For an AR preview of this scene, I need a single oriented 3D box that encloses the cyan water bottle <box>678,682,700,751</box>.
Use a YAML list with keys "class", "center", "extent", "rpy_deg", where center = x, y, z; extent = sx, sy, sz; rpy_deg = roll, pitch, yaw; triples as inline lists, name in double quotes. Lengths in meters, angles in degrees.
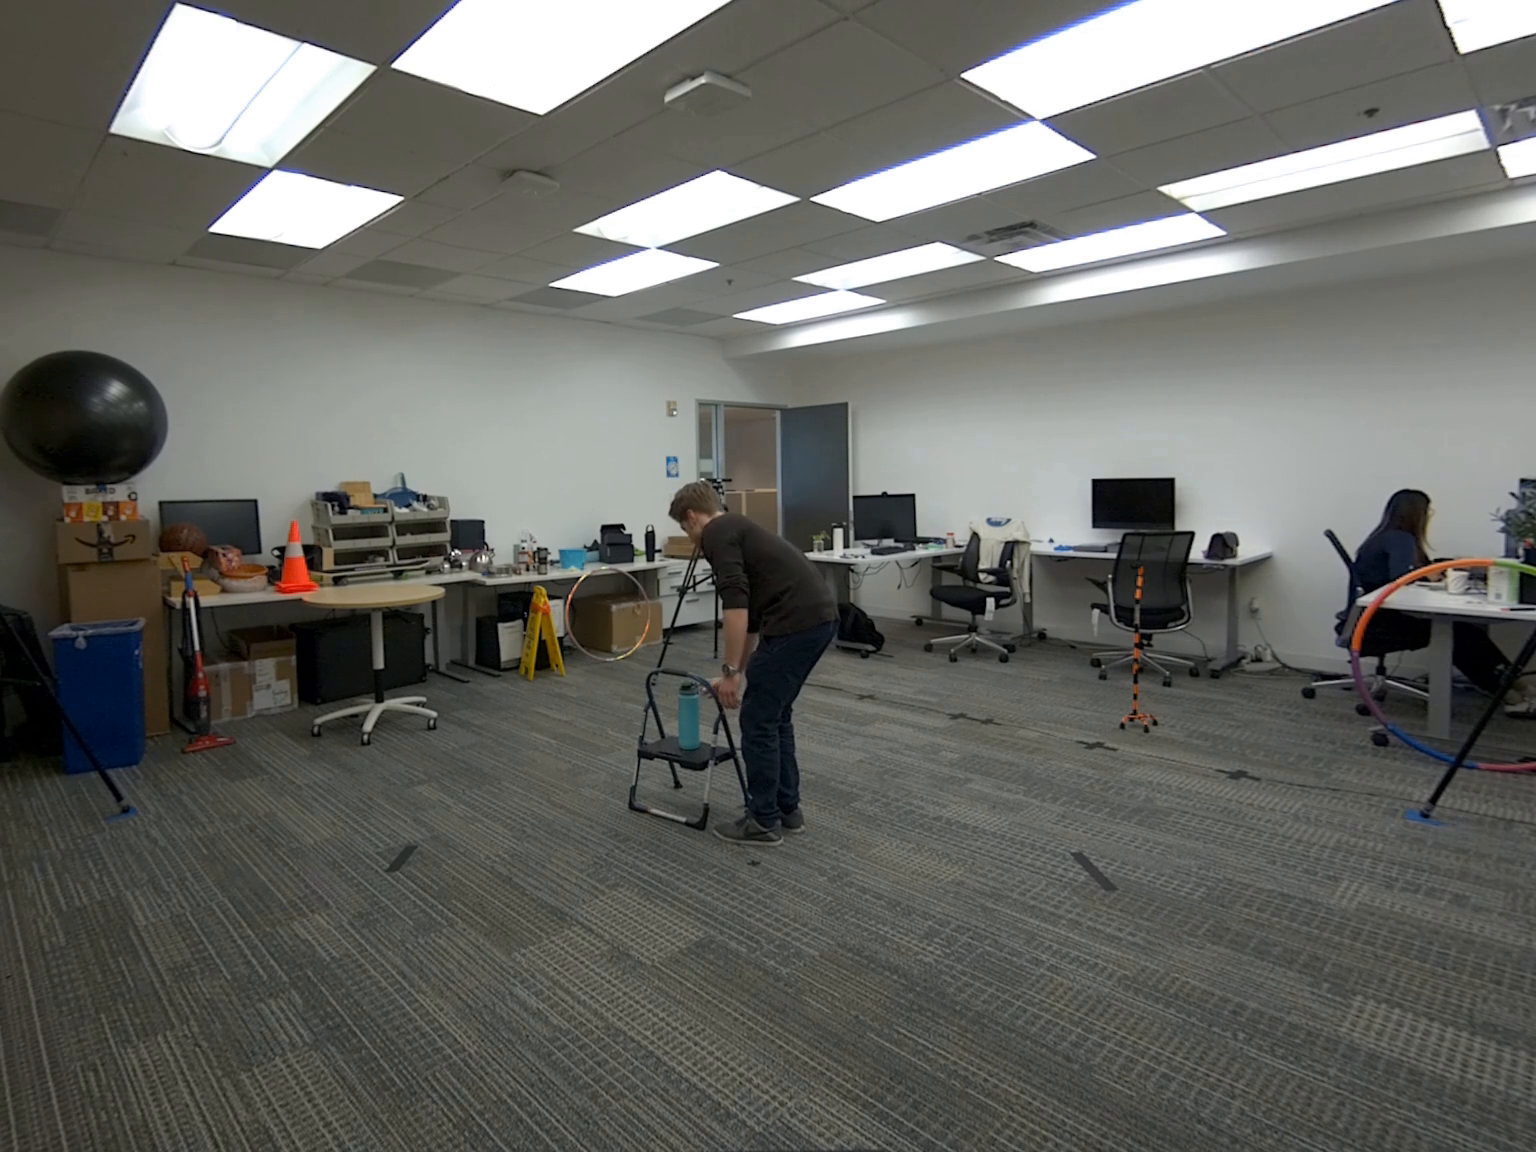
- class: "cyan water bottle"
  center: [-0.334, 0.587, 3.646]
  extent: [0.092, 0.283, 0.092]
  rpy_deg: [1, 1, -2]
